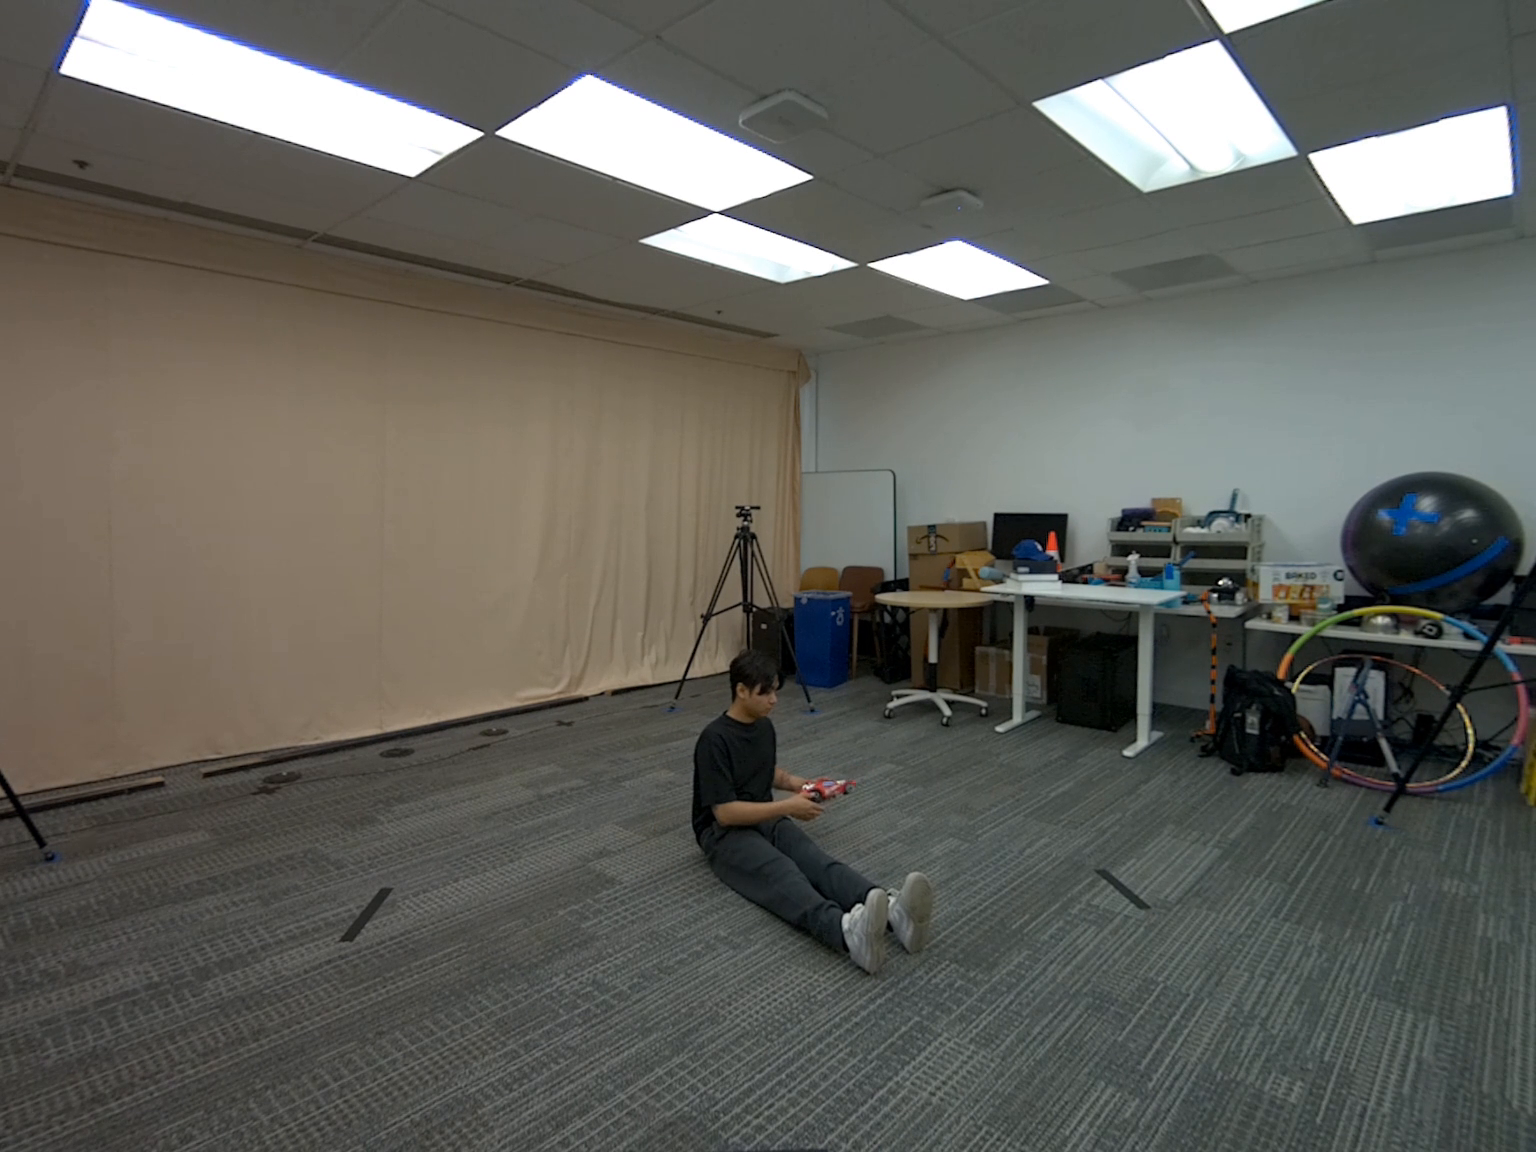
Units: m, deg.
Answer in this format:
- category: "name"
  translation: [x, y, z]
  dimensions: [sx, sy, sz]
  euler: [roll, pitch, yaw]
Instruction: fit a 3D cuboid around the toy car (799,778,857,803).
- category: "toy car"
  translation: [0.235, 0.894, 3.487]
  dimensions: [0.253, 0.084, 0.129]
  euler: [1, -17, -5]
